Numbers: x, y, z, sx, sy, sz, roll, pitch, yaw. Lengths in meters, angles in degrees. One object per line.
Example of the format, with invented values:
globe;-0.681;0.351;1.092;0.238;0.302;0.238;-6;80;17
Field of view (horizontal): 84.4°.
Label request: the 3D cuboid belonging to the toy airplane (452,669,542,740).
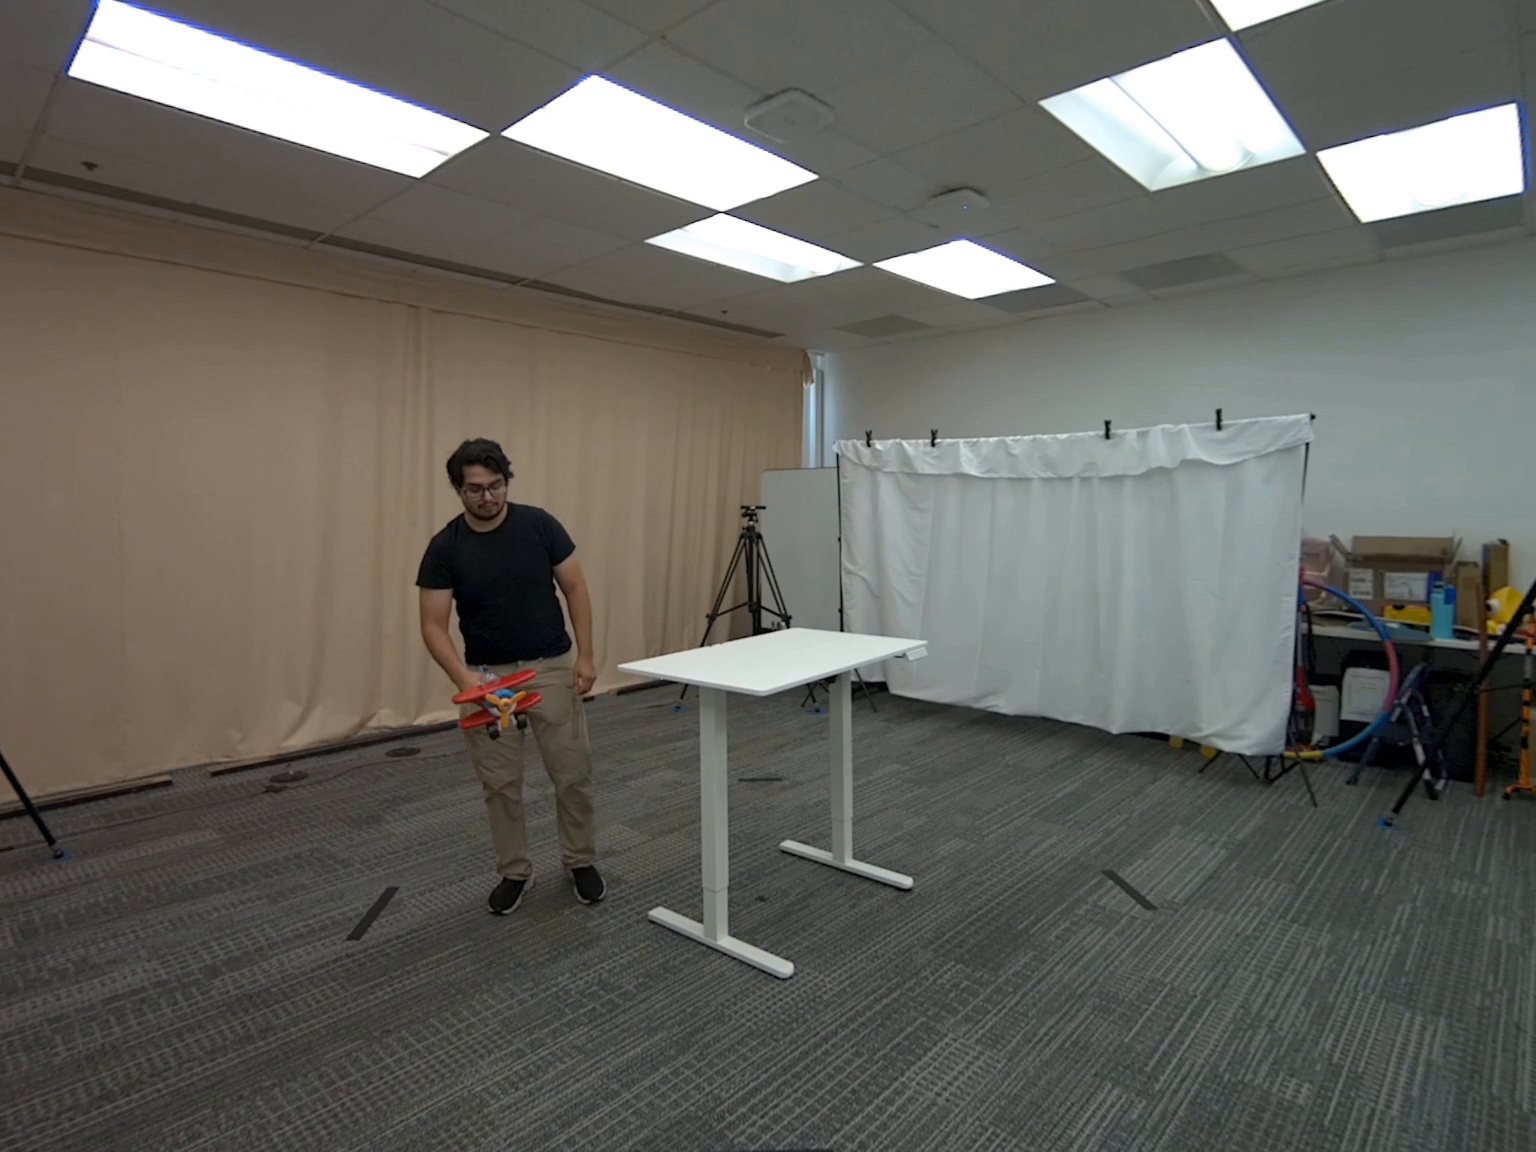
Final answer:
toy airplane;-0.837;0.382;2.552;0.267;0.154;0.247;11;30;30
